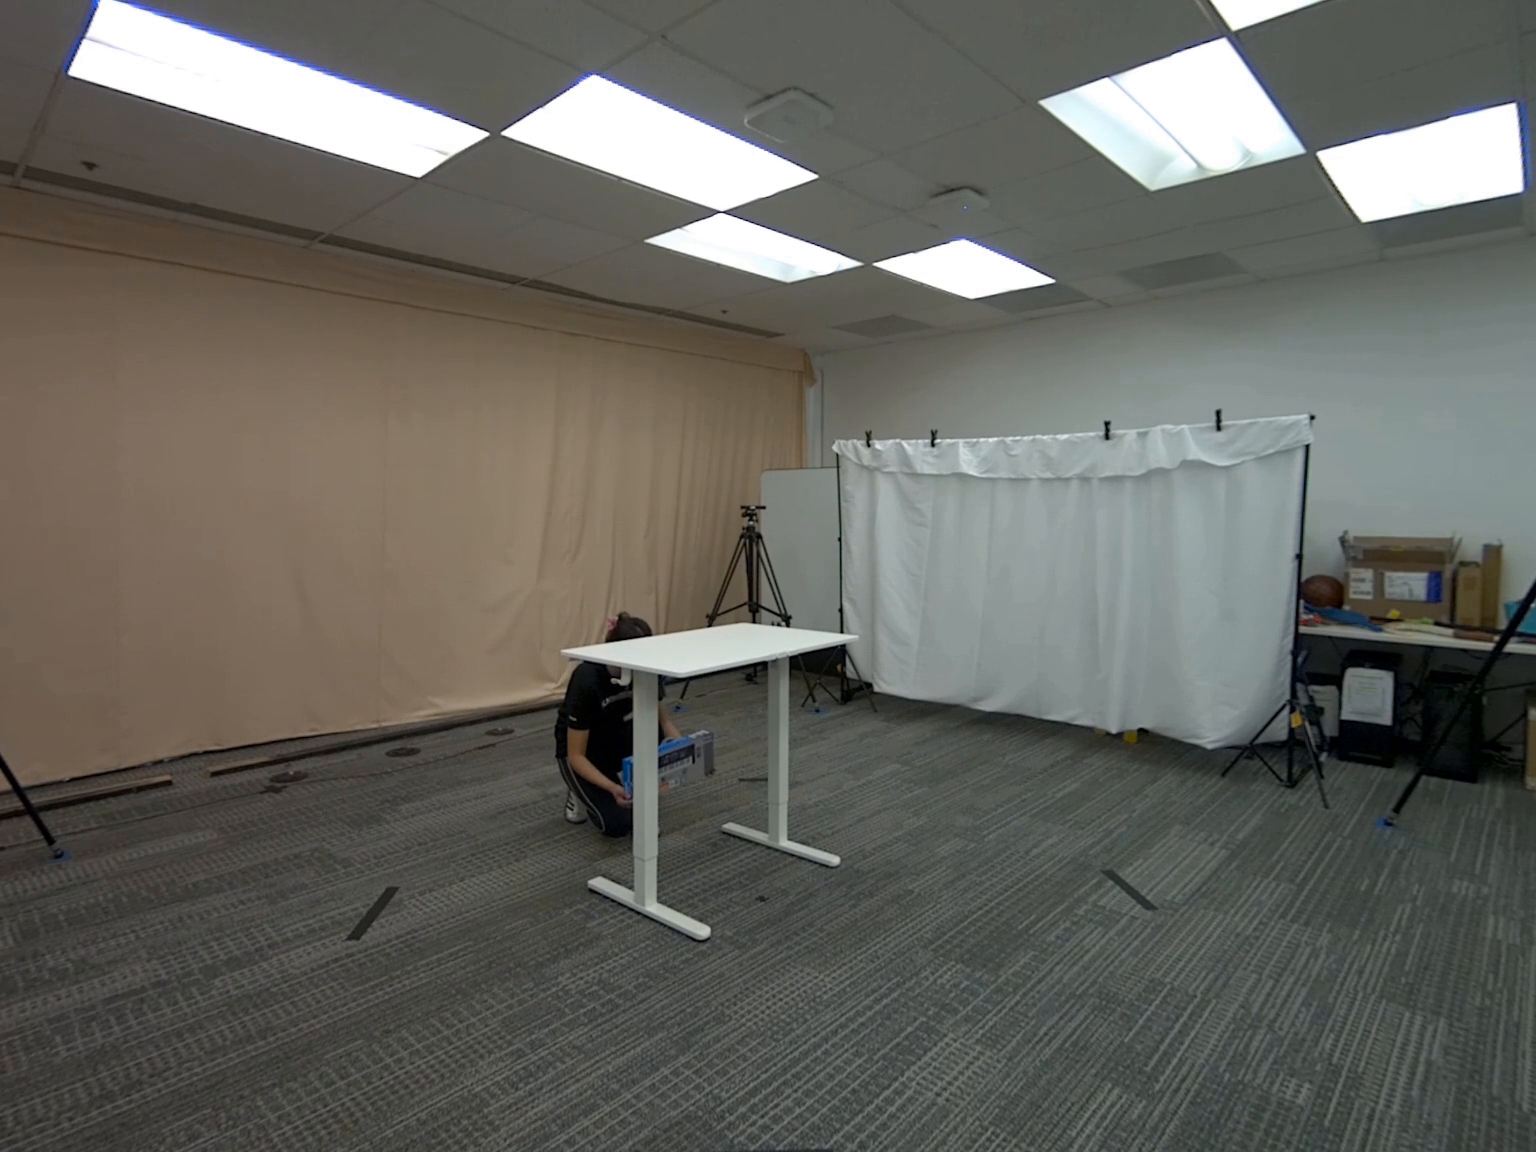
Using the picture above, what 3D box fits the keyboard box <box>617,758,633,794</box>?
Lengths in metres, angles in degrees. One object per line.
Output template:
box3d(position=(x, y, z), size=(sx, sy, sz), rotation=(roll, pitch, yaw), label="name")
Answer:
box3d(position=(-0.399, 0.760, 3.370), size=(0.061, 0.175, 0.424), rotation=(6, 11, 43), label="keyboard box")
